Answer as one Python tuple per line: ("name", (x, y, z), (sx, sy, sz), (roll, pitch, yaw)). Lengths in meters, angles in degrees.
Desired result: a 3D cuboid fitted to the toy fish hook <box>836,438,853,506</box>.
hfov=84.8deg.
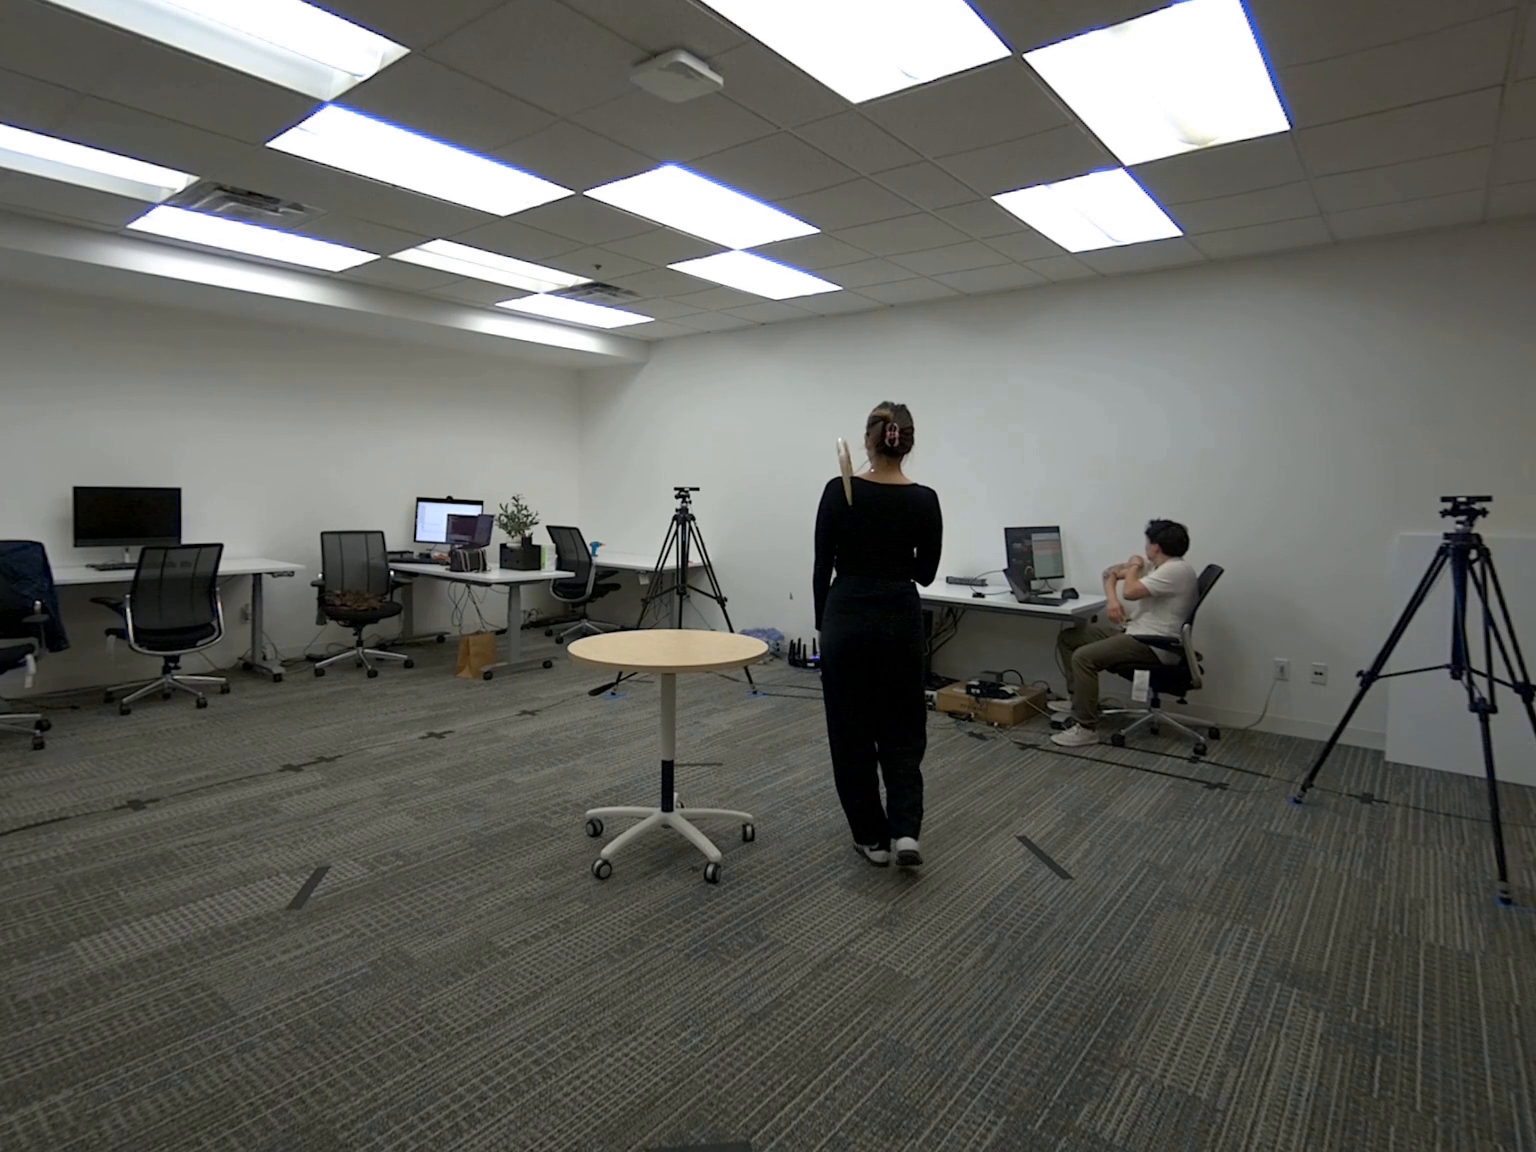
("toy fish hook", (0.302, -0.283, 3.139), (0.049, 0.488, 0.230), (-7, 43, 9))
